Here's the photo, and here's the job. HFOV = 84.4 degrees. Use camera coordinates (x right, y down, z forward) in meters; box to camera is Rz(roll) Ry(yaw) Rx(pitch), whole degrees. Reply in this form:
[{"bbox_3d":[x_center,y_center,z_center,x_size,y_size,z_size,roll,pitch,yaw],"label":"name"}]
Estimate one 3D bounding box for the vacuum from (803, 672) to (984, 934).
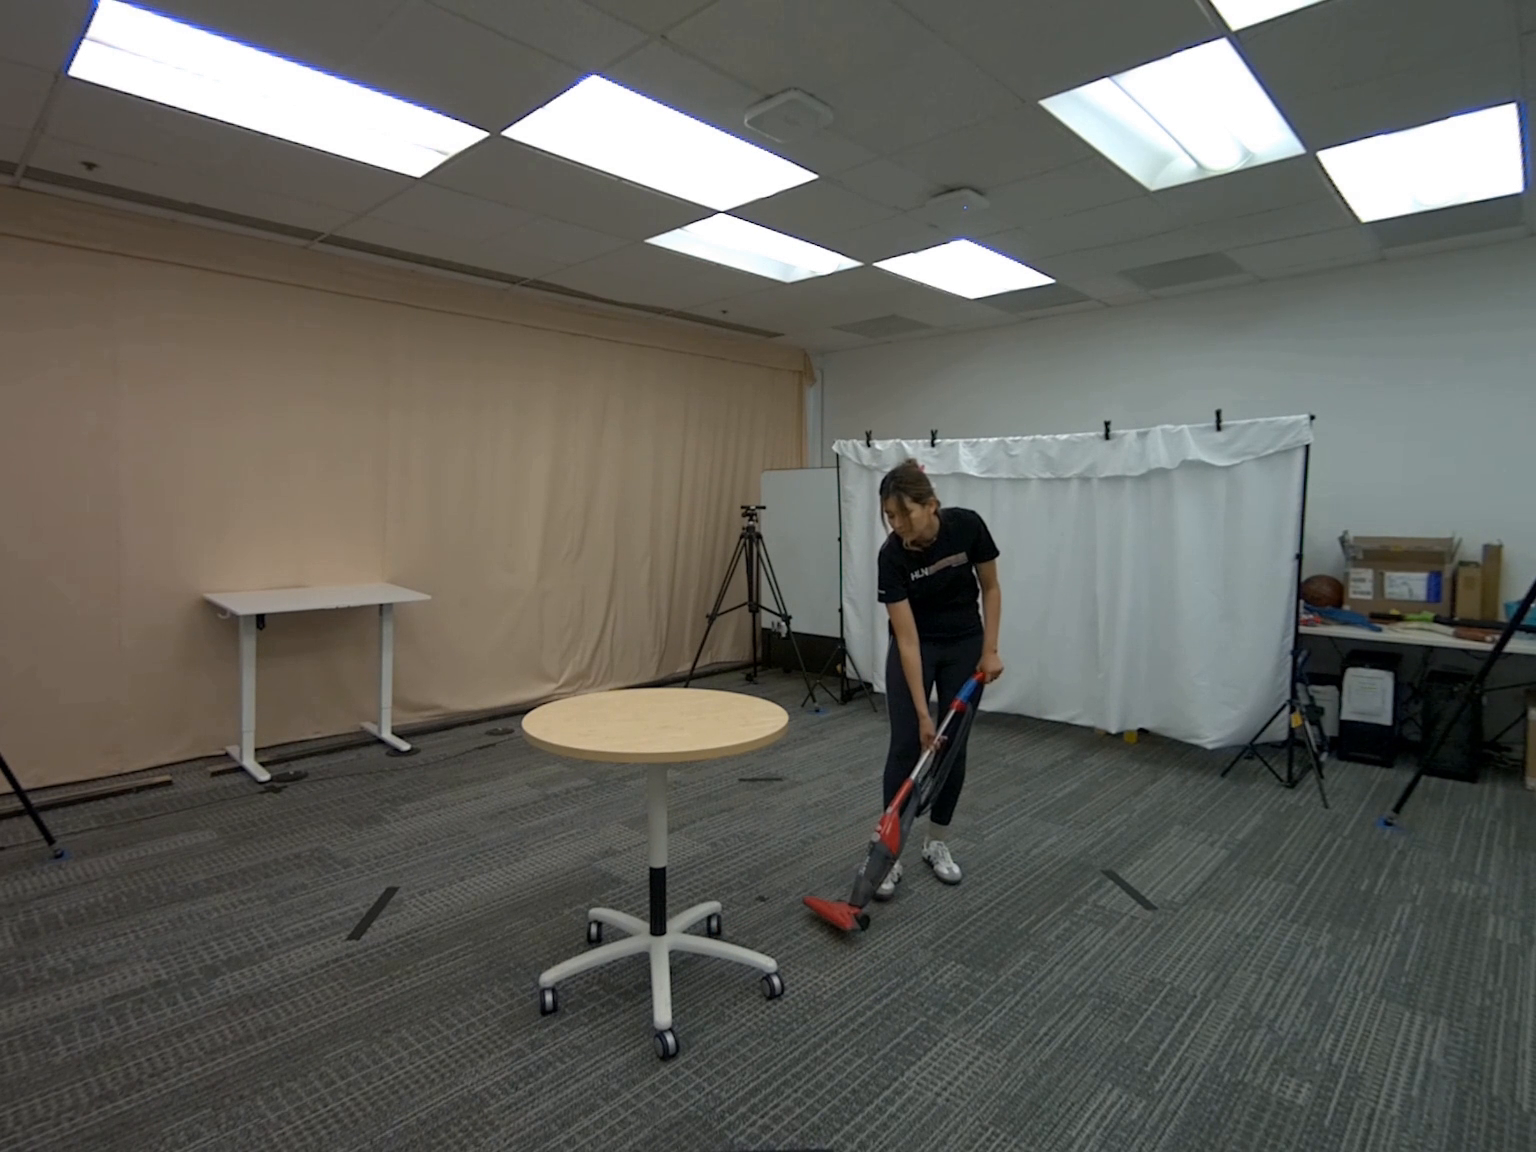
[{"bbox_3d":[0.520,0.741,2.945,0.140,1.046,0.260,47,-21,-27],"label":"vacuum"}]
